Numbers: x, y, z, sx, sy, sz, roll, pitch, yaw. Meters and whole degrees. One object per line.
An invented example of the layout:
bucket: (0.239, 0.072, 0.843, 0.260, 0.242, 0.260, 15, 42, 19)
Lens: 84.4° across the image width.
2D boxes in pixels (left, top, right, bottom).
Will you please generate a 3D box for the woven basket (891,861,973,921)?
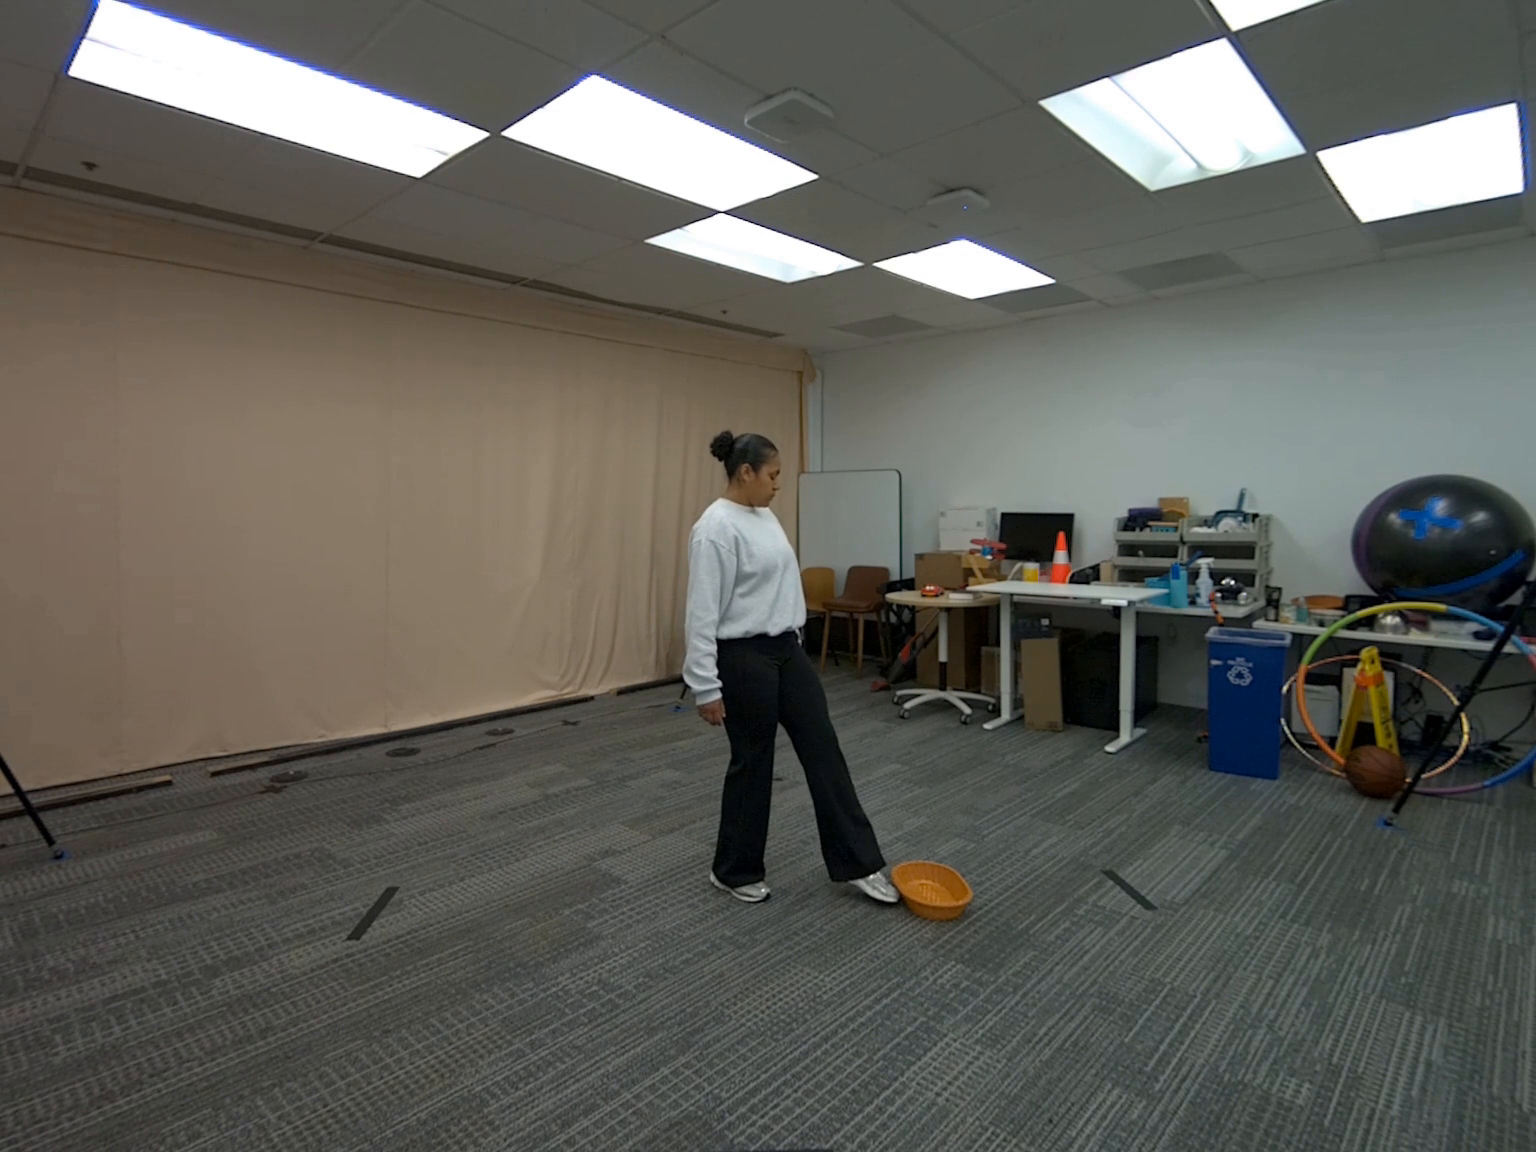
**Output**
woven basket: (0.567, 1.106, 2.950, 0.252, 0.073, 0.351, 1, 6, -1)
